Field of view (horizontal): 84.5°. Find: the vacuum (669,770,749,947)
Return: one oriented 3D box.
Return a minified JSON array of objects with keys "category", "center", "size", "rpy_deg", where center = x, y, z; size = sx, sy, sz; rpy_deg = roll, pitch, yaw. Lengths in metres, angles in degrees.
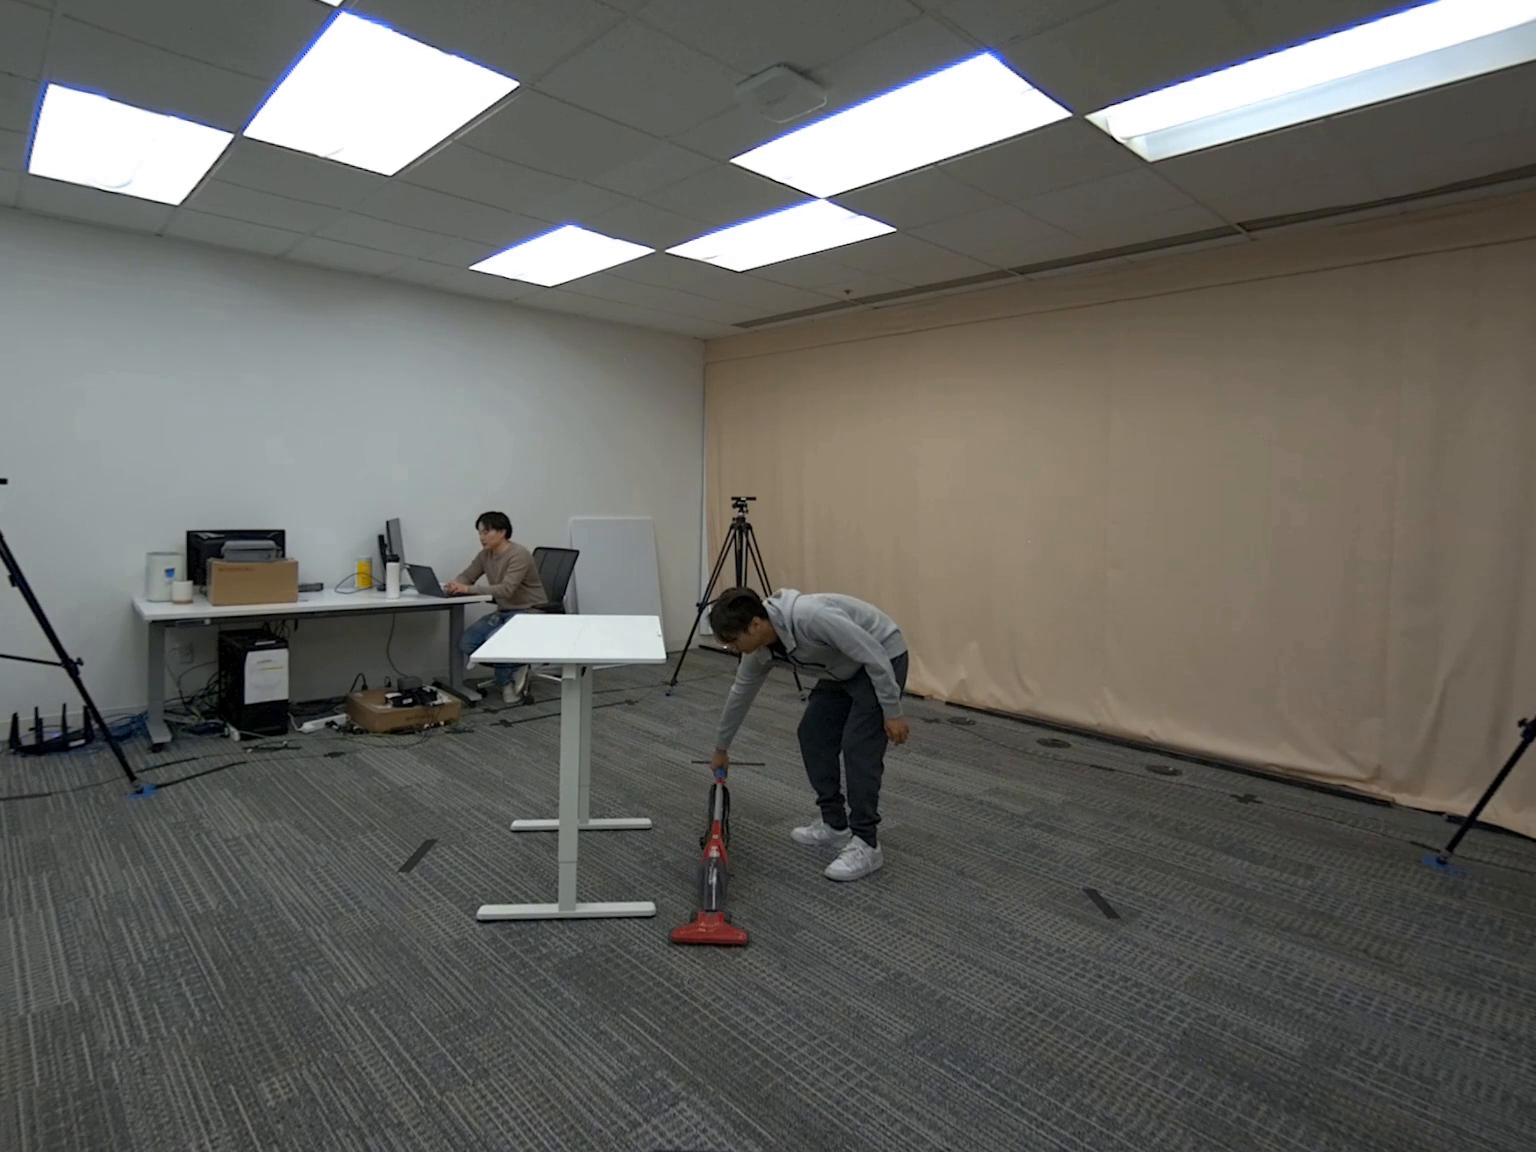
[{"category":"vacuum","center":[-0.197,0.976,3.207],"size":[0.252,0.143,1.057],"rpy_deg":[9,13,-2]}]
